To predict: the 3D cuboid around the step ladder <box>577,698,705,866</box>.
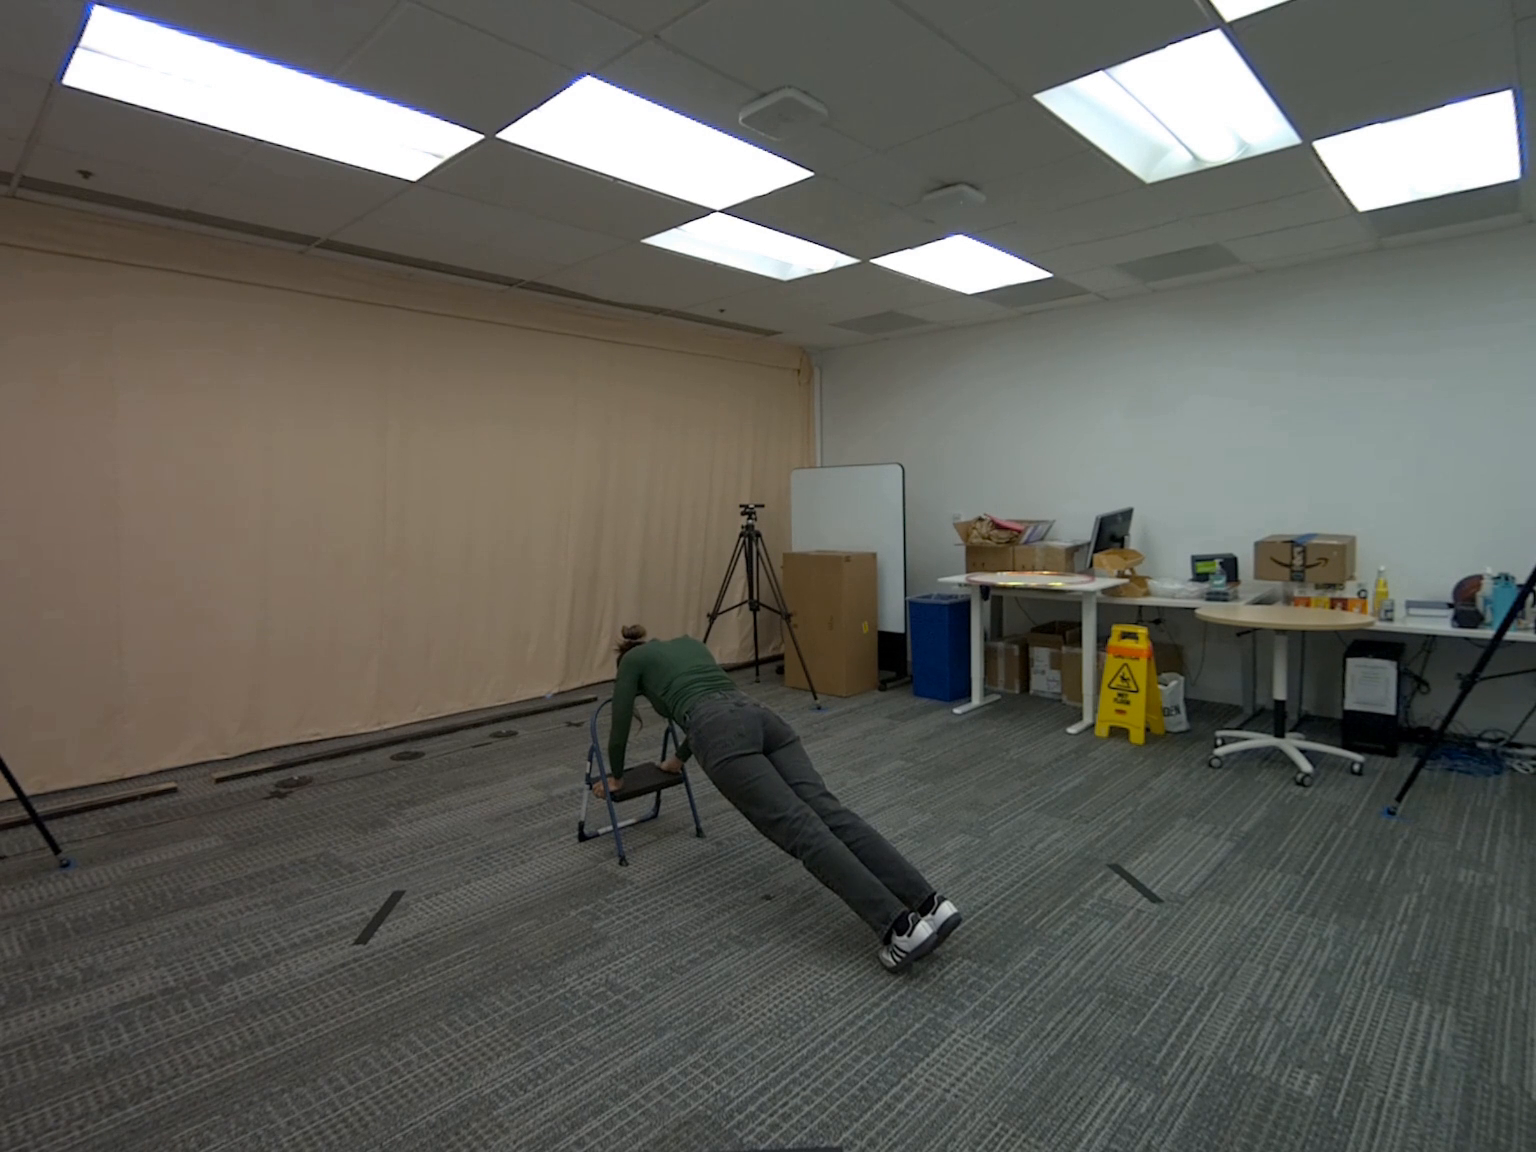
[{"bbox_3d":[-0.539,0.805,3.525,0.417,0.605,0.361,-4,4,-43],"label":"step ladder"}]
